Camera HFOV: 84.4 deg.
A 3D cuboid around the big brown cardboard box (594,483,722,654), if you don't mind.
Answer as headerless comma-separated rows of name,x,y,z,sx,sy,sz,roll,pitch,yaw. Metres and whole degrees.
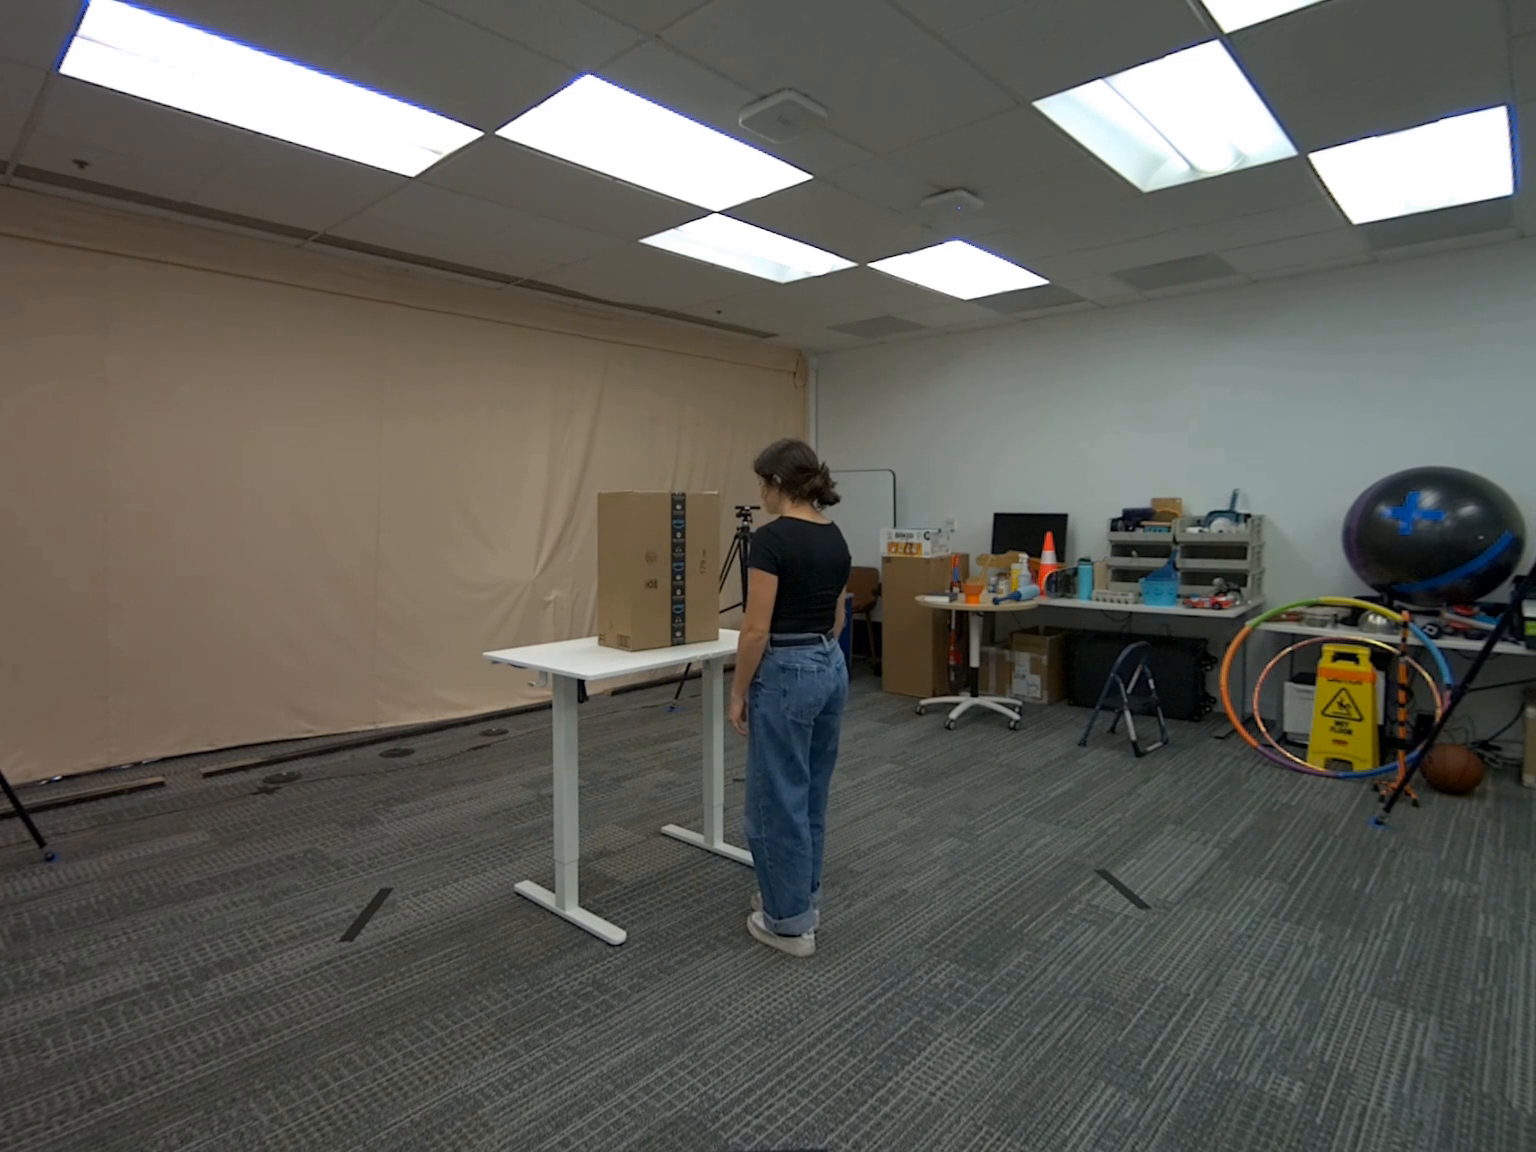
big brown cardboard box,-0.407,-0.038,3.153,0.404,0.588,0.241,-1,2,-42
